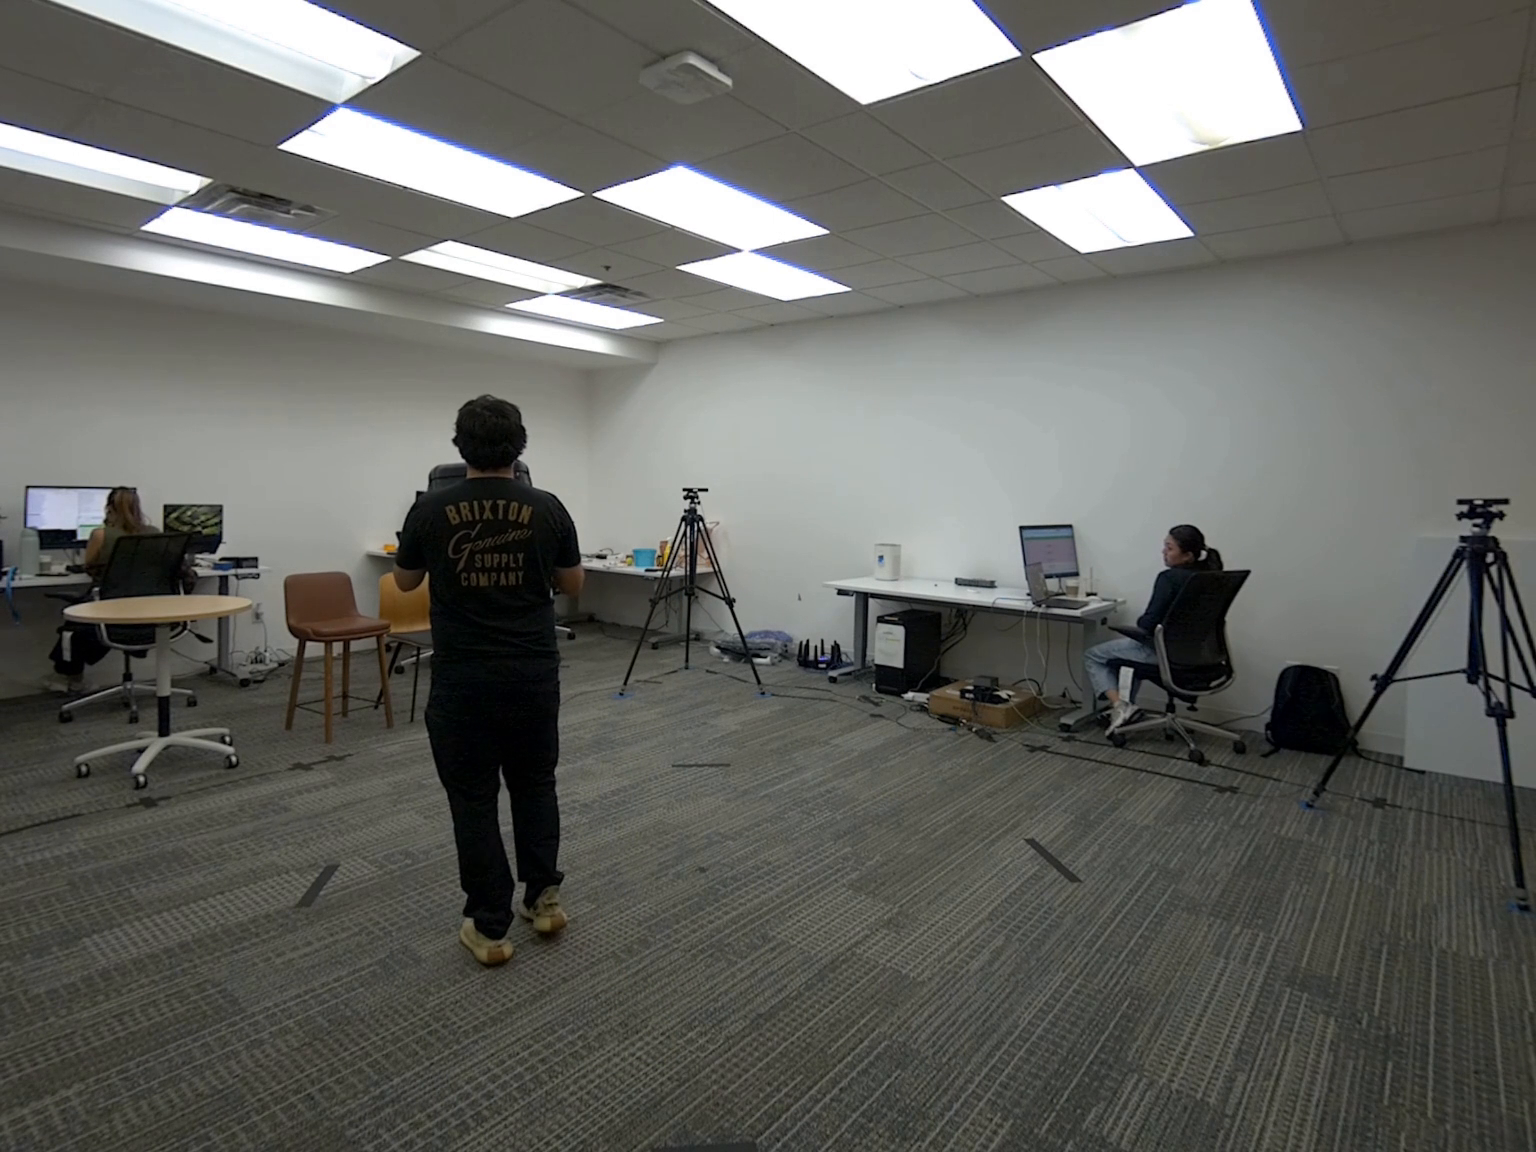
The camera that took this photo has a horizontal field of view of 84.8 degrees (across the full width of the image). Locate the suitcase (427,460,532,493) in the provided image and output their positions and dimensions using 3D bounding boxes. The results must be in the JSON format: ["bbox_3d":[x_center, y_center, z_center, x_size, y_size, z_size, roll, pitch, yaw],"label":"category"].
[{"bbox_3d":[-0.964,-0.126,2.898,0.370,0.563,0.245,-4,-25,-15],"label":"suitcase"}]
